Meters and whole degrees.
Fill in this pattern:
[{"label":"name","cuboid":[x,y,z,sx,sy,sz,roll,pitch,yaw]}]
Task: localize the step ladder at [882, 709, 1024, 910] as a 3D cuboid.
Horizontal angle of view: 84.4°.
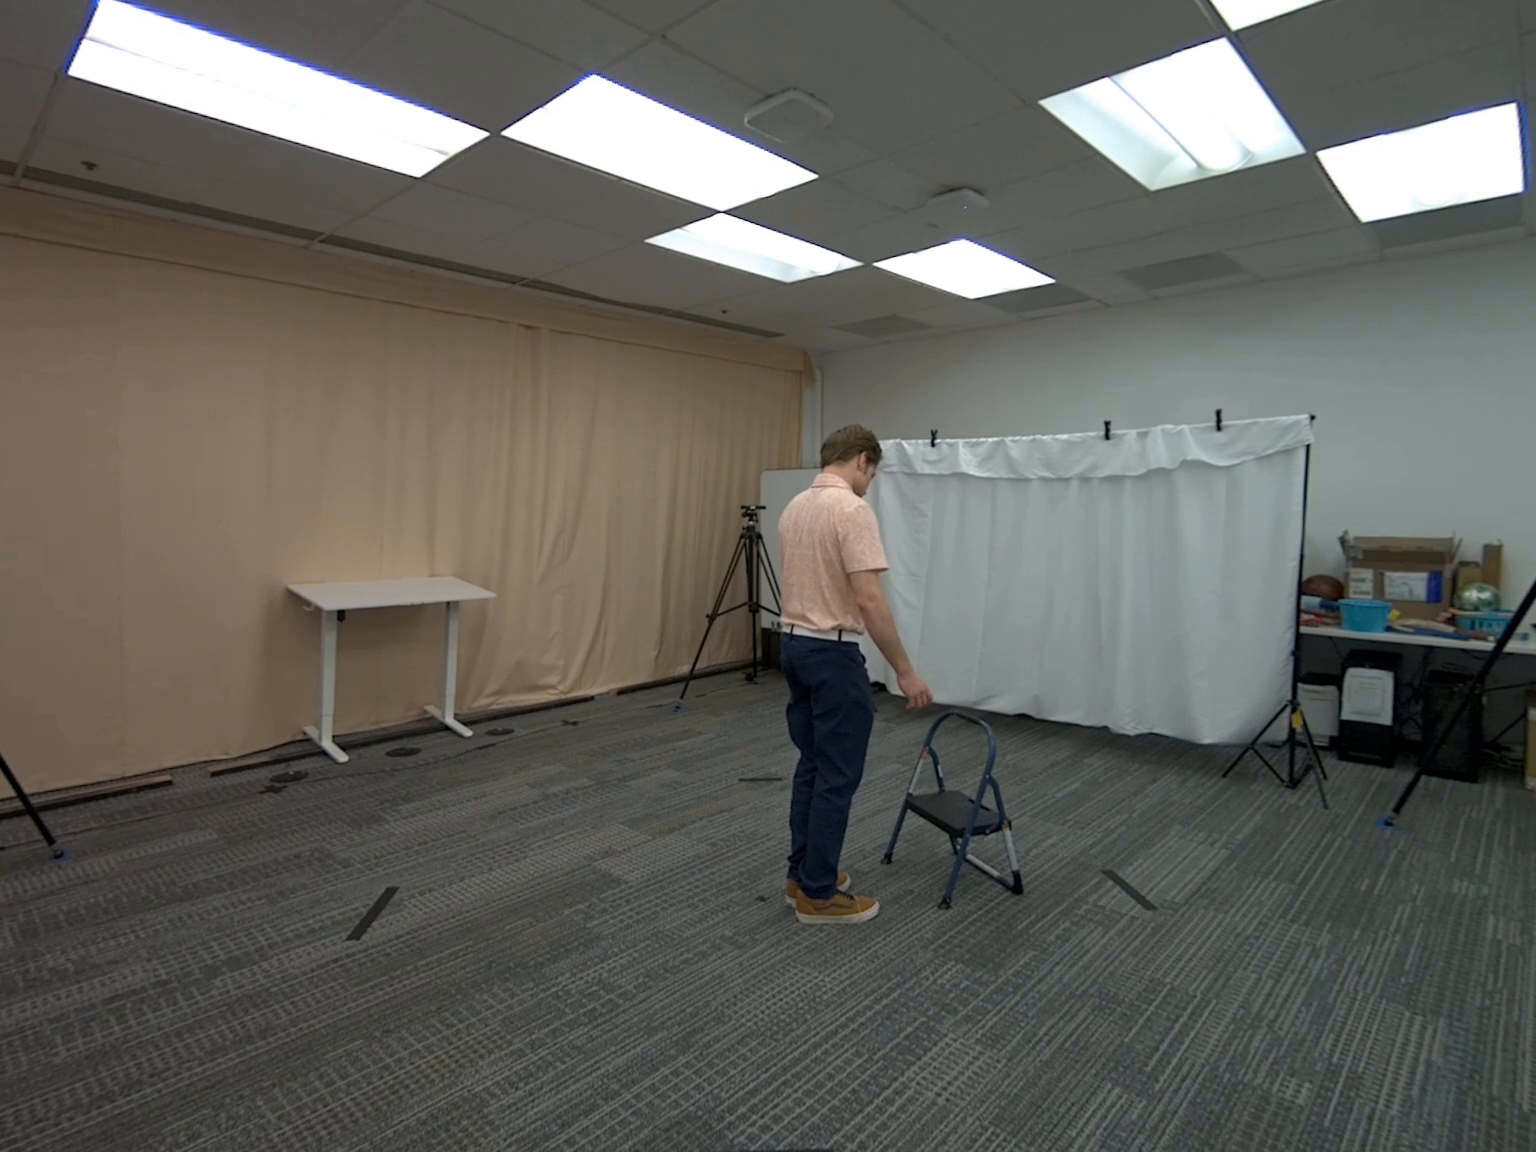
[{"label":"step ladder","cuboid":[0.686,0.826,3.133,0.342,0.605,0.440,-1,3,-21]}]
